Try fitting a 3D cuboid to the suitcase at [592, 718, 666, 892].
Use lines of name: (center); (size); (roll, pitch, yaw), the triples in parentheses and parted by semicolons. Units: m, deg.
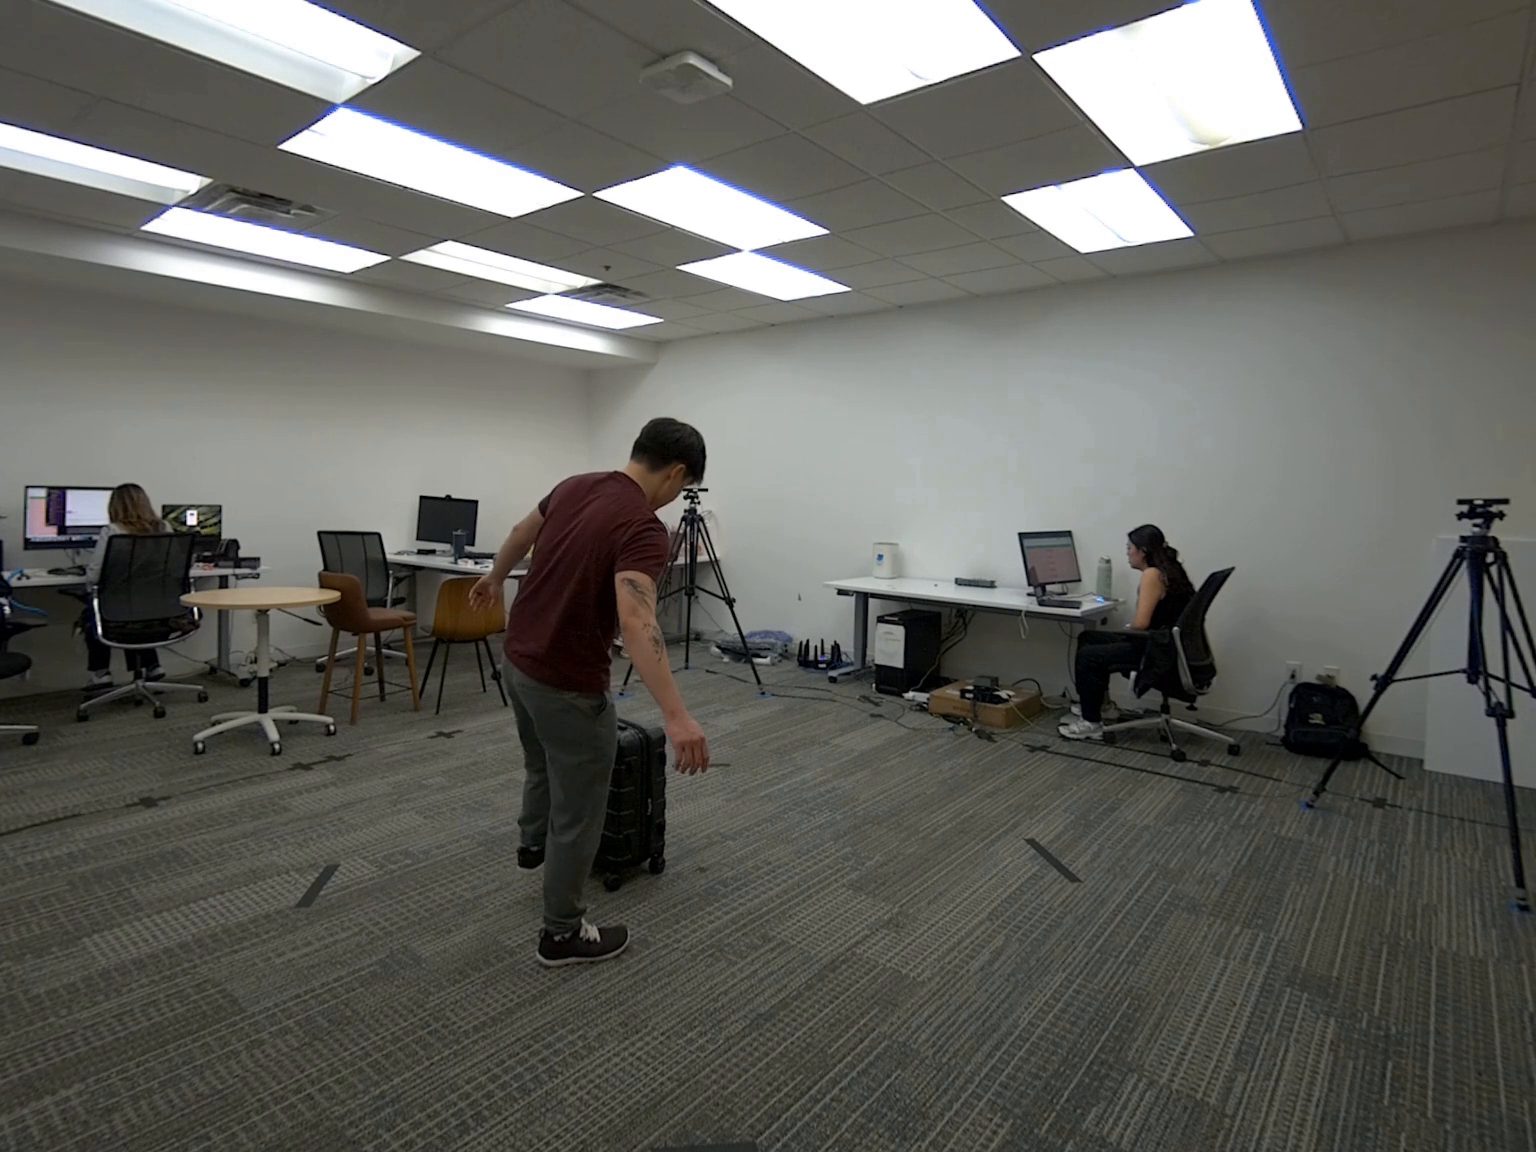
suitcase: (-0.571, 0.587, 3.108); (0.397, 0.978, 0.249); (3, 1, 43)
